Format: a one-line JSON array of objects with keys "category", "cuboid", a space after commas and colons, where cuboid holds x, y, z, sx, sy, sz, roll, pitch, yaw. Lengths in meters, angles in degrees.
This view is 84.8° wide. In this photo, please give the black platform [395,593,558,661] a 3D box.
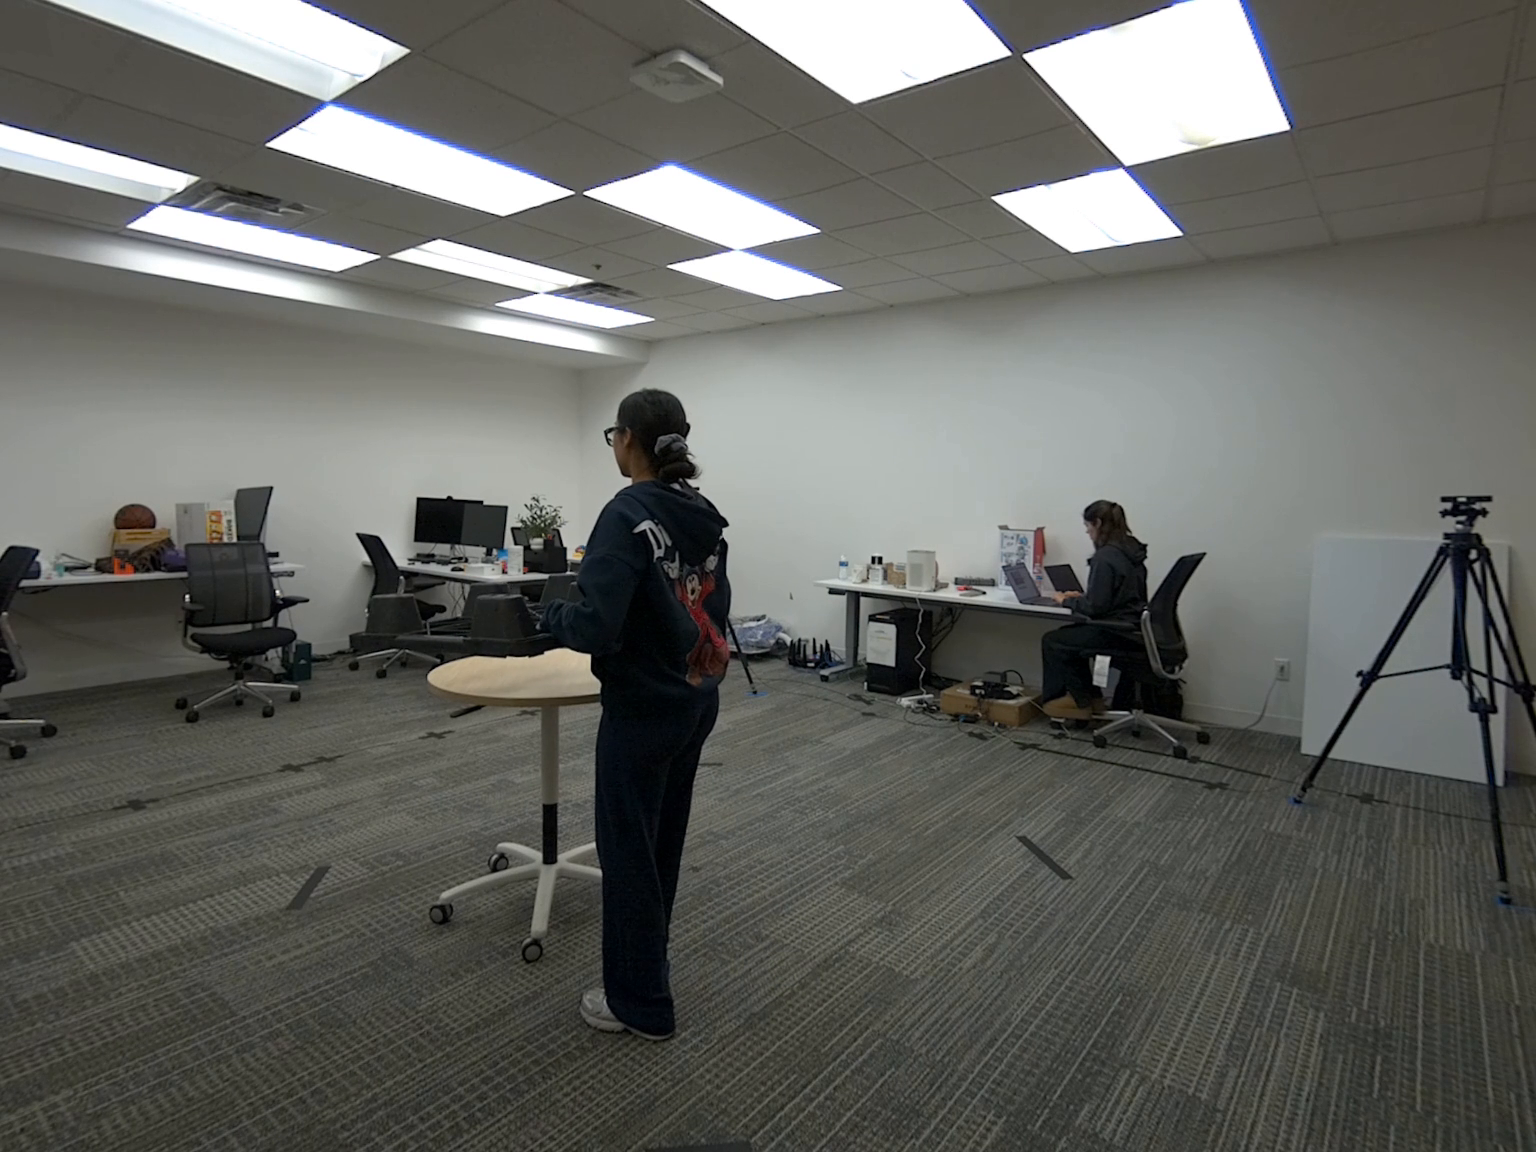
[{"category": "black platform", "cuboid": [-0.651, 0.090, 2.388, 0.621, 0.143, 0.786, 0, 4, 28]}]
